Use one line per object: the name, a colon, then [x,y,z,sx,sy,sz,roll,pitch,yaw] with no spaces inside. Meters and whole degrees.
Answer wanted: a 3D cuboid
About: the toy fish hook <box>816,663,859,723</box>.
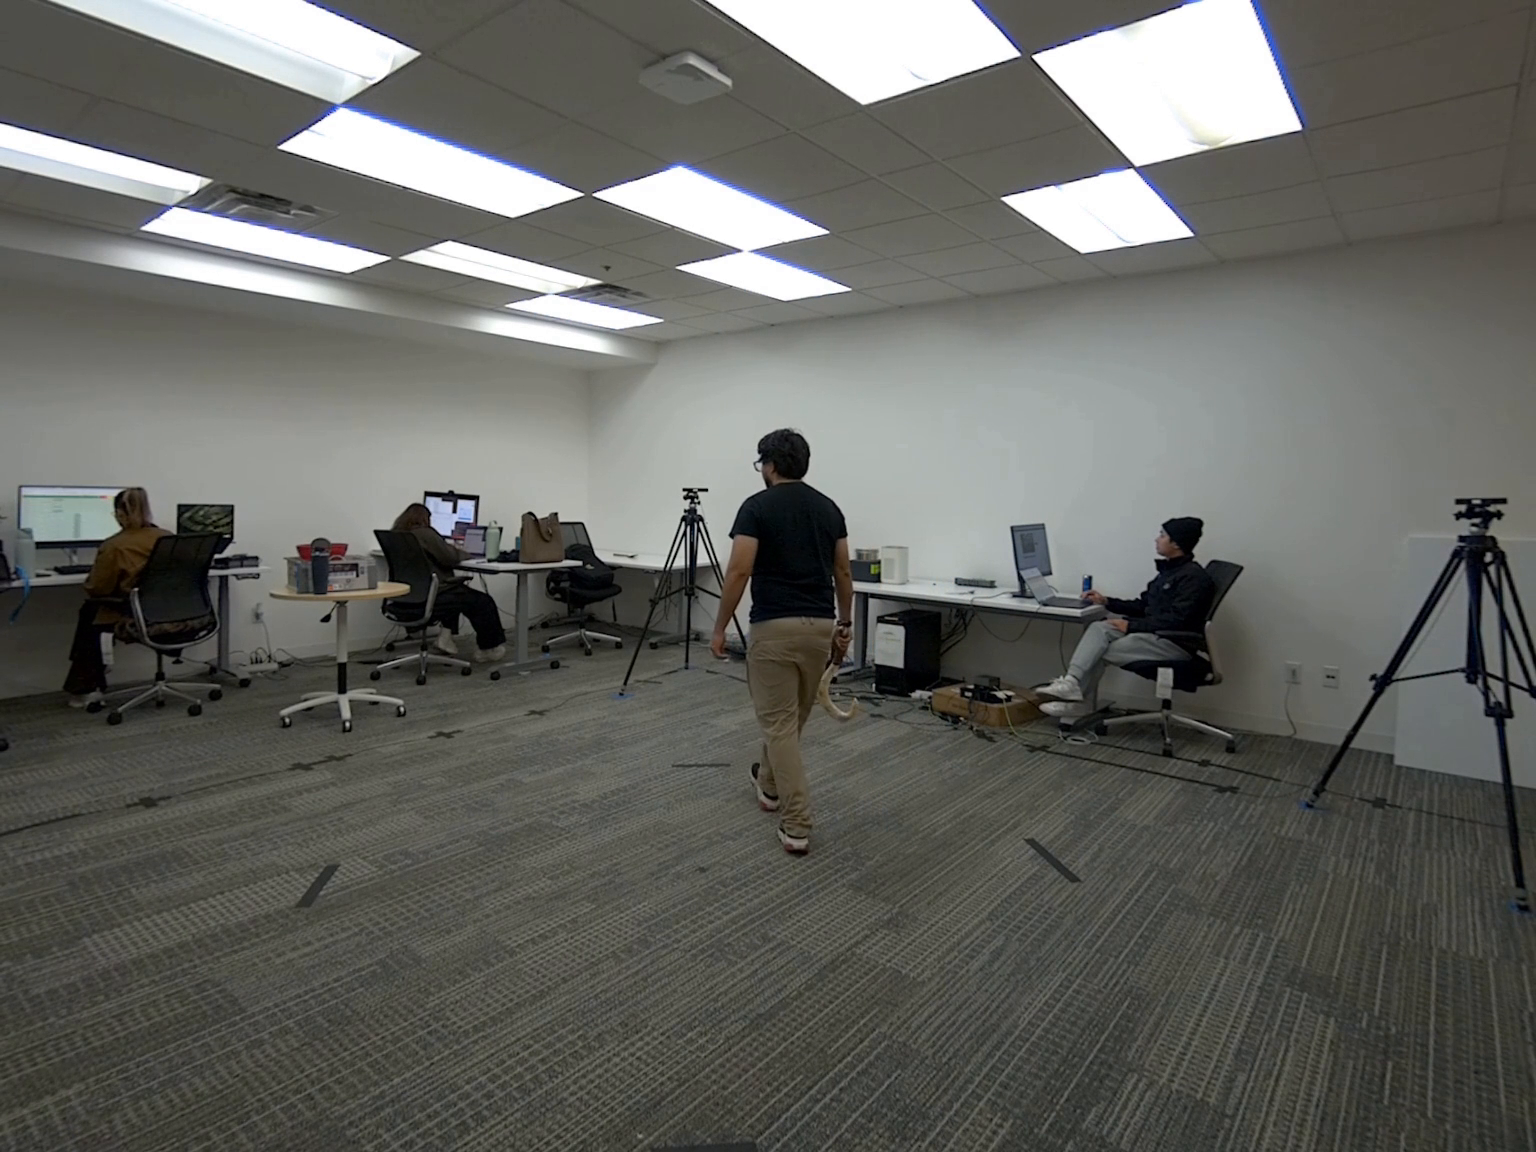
toy fish hook: [0.315,0.442,3.769,0.233,0.494,0.047,32,42,33]
